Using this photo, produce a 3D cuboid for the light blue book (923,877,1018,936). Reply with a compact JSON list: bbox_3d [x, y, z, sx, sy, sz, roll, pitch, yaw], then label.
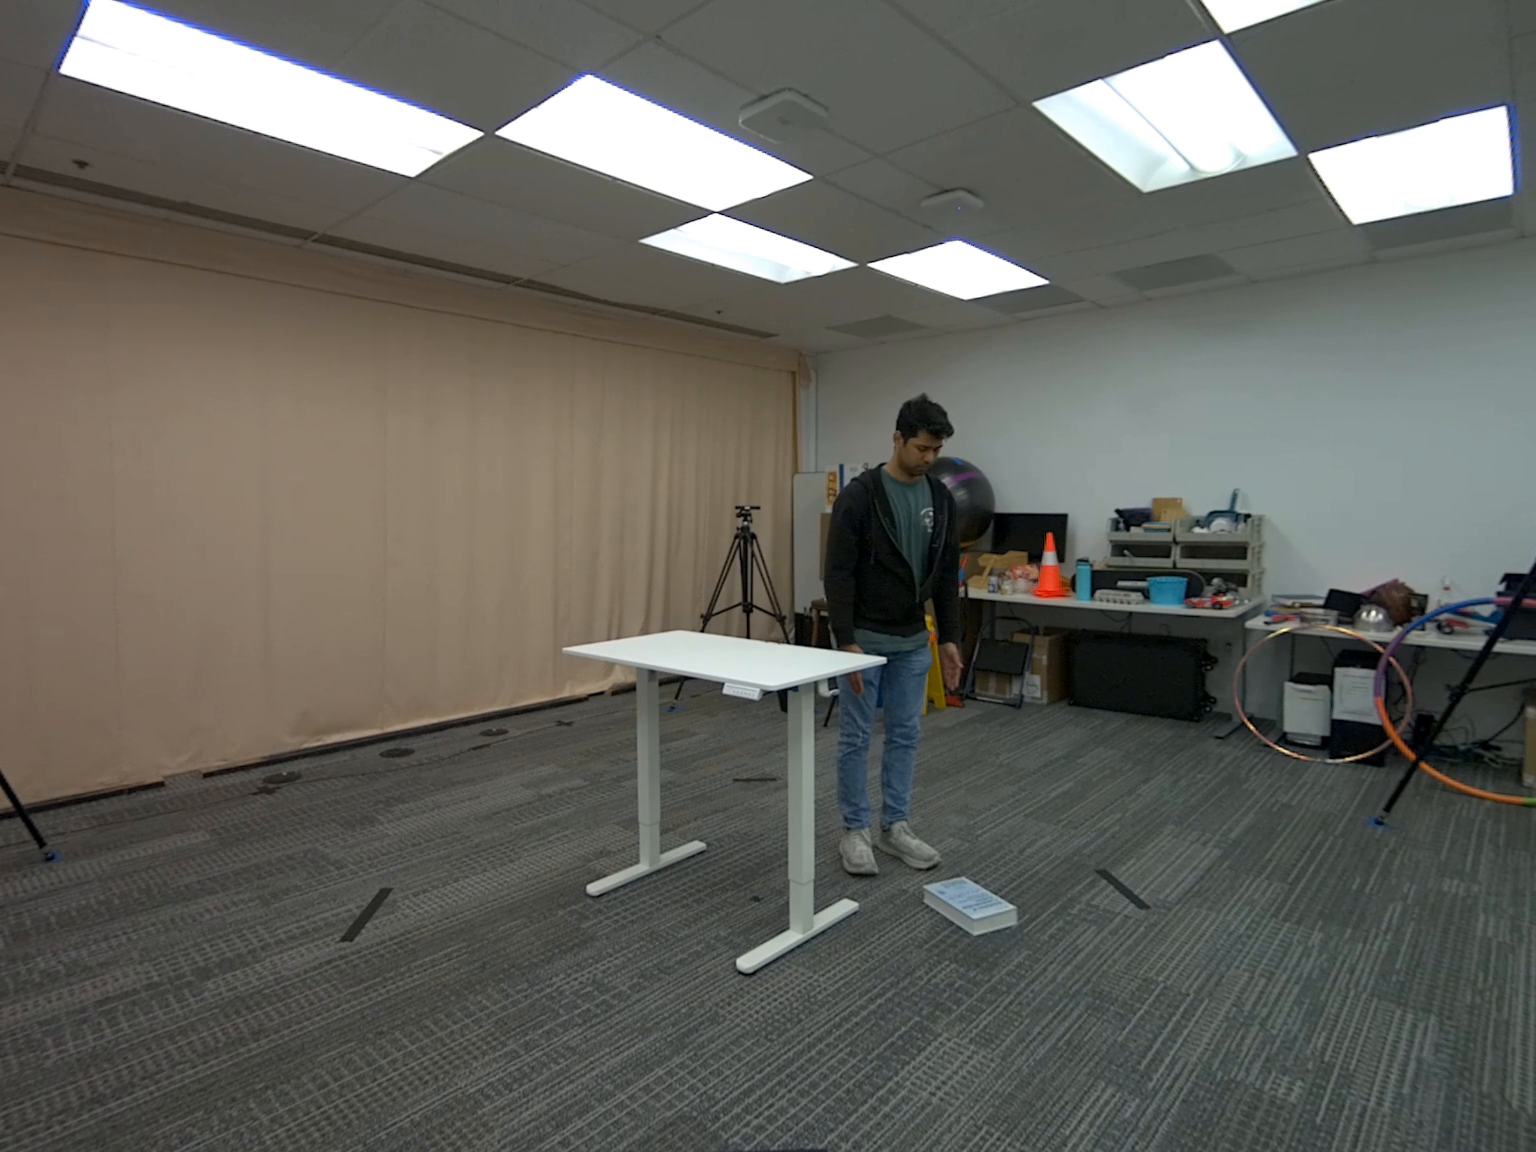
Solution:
[{"bbox_3d":[0.684,1.117,2.874,0.187,0.059,0.268,-3,5,-26],"label":"light blue book"}]
